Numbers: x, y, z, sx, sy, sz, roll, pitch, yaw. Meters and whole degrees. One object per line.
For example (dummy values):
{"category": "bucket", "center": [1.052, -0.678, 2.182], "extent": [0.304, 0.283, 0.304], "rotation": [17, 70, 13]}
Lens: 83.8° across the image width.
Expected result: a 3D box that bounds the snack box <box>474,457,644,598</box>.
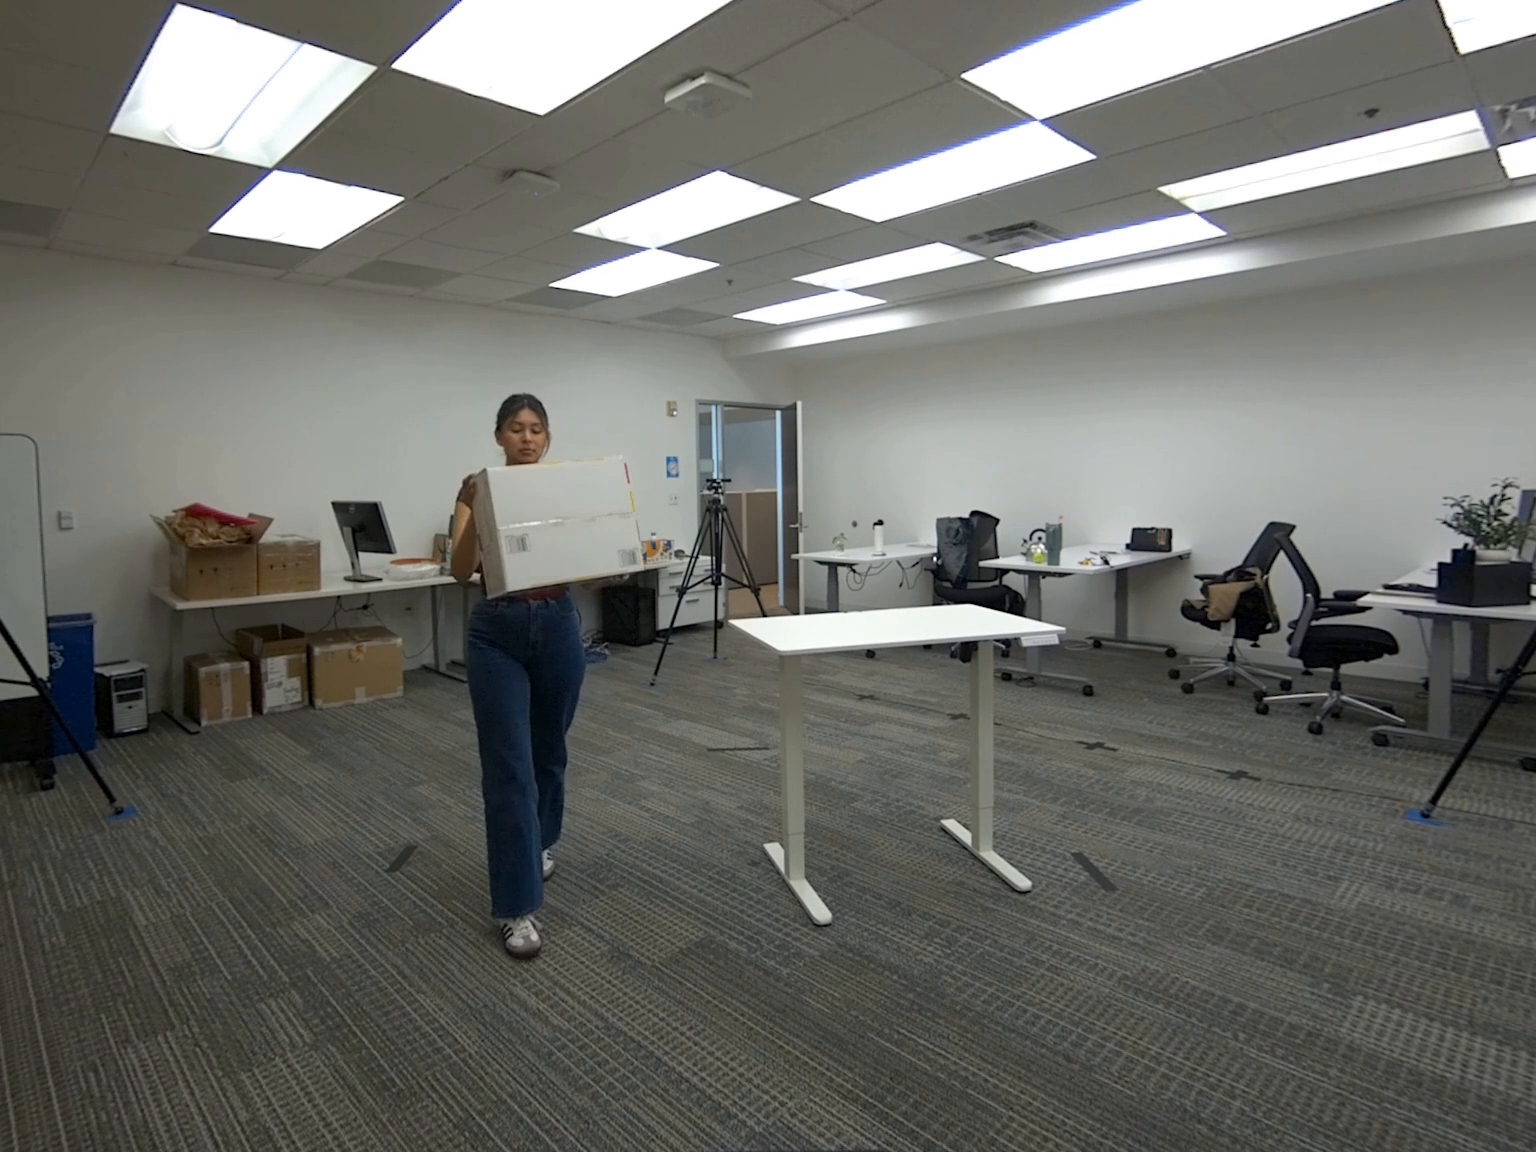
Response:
{"category": "snack box", "center": [-0.602, -0.144, 2.419], "extent": [0.396, 0.341, 0.209], "rotation": [-10, -3, -31]}
